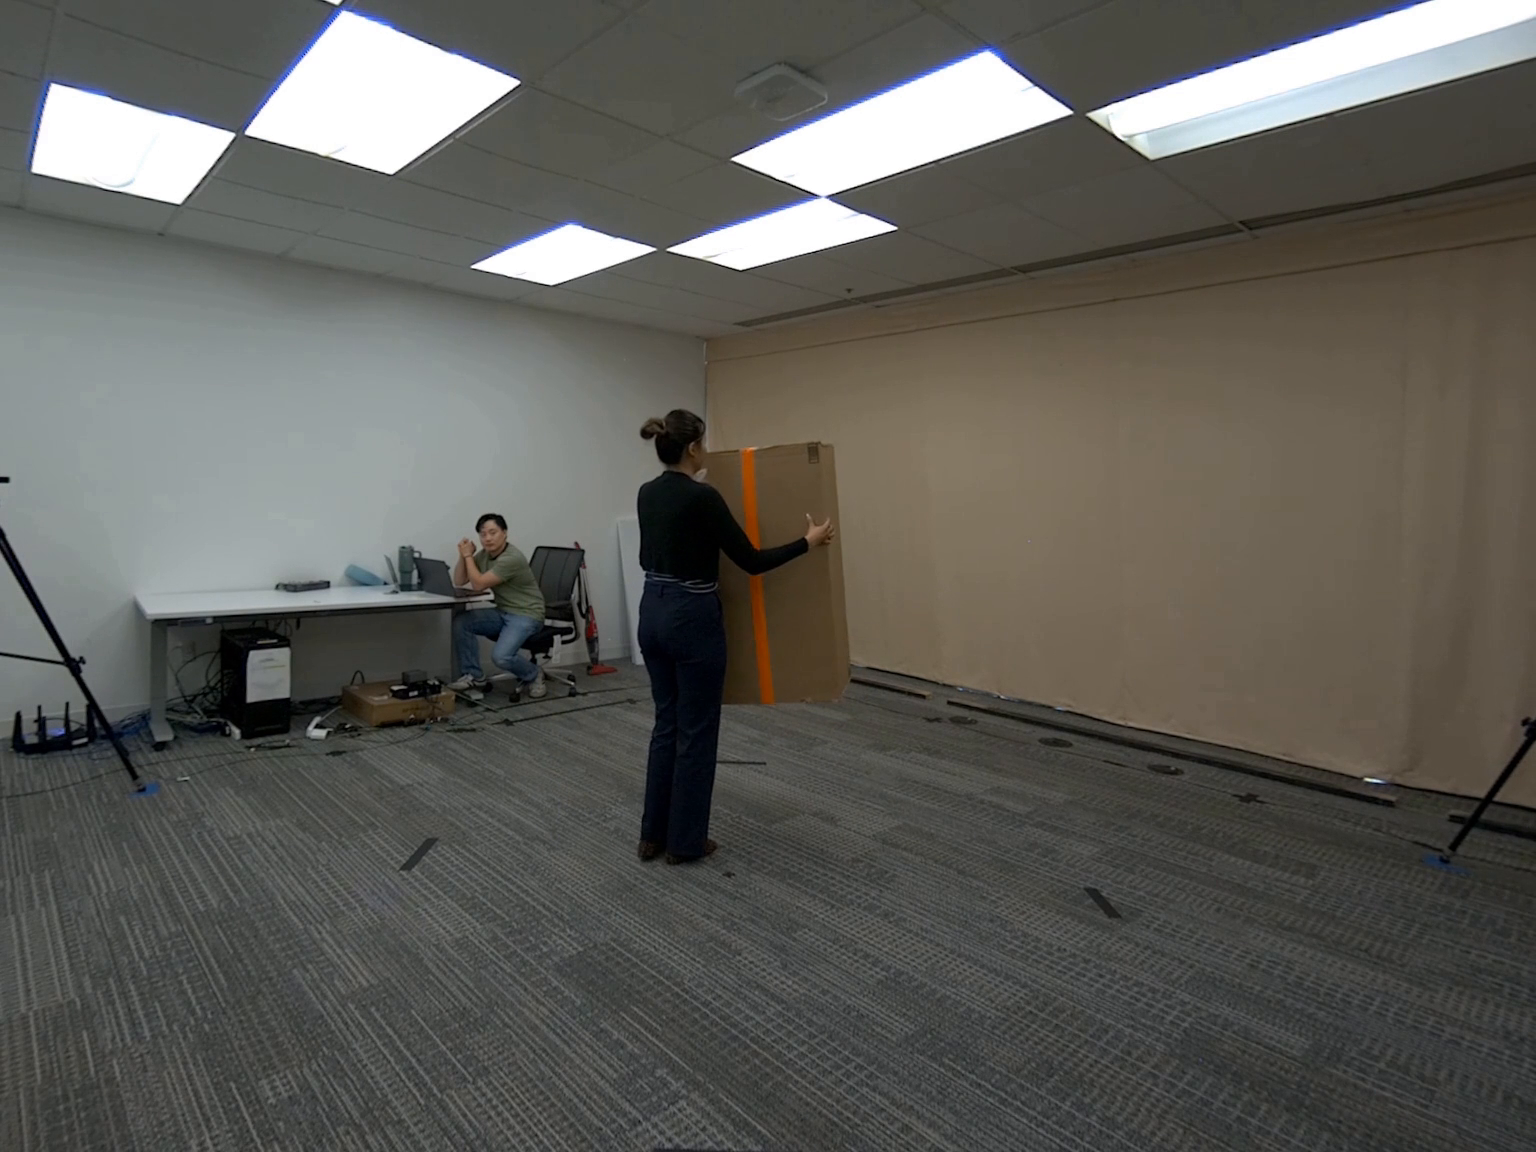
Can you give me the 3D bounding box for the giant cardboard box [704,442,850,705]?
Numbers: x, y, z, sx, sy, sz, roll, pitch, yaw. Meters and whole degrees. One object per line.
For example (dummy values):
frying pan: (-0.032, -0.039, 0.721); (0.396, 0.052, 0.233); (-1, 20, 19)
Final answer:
giant cardboard box: (-0.007, -0.021, 3.543); (0.584, 1.023, 0.423); (-3, 4, 15)
